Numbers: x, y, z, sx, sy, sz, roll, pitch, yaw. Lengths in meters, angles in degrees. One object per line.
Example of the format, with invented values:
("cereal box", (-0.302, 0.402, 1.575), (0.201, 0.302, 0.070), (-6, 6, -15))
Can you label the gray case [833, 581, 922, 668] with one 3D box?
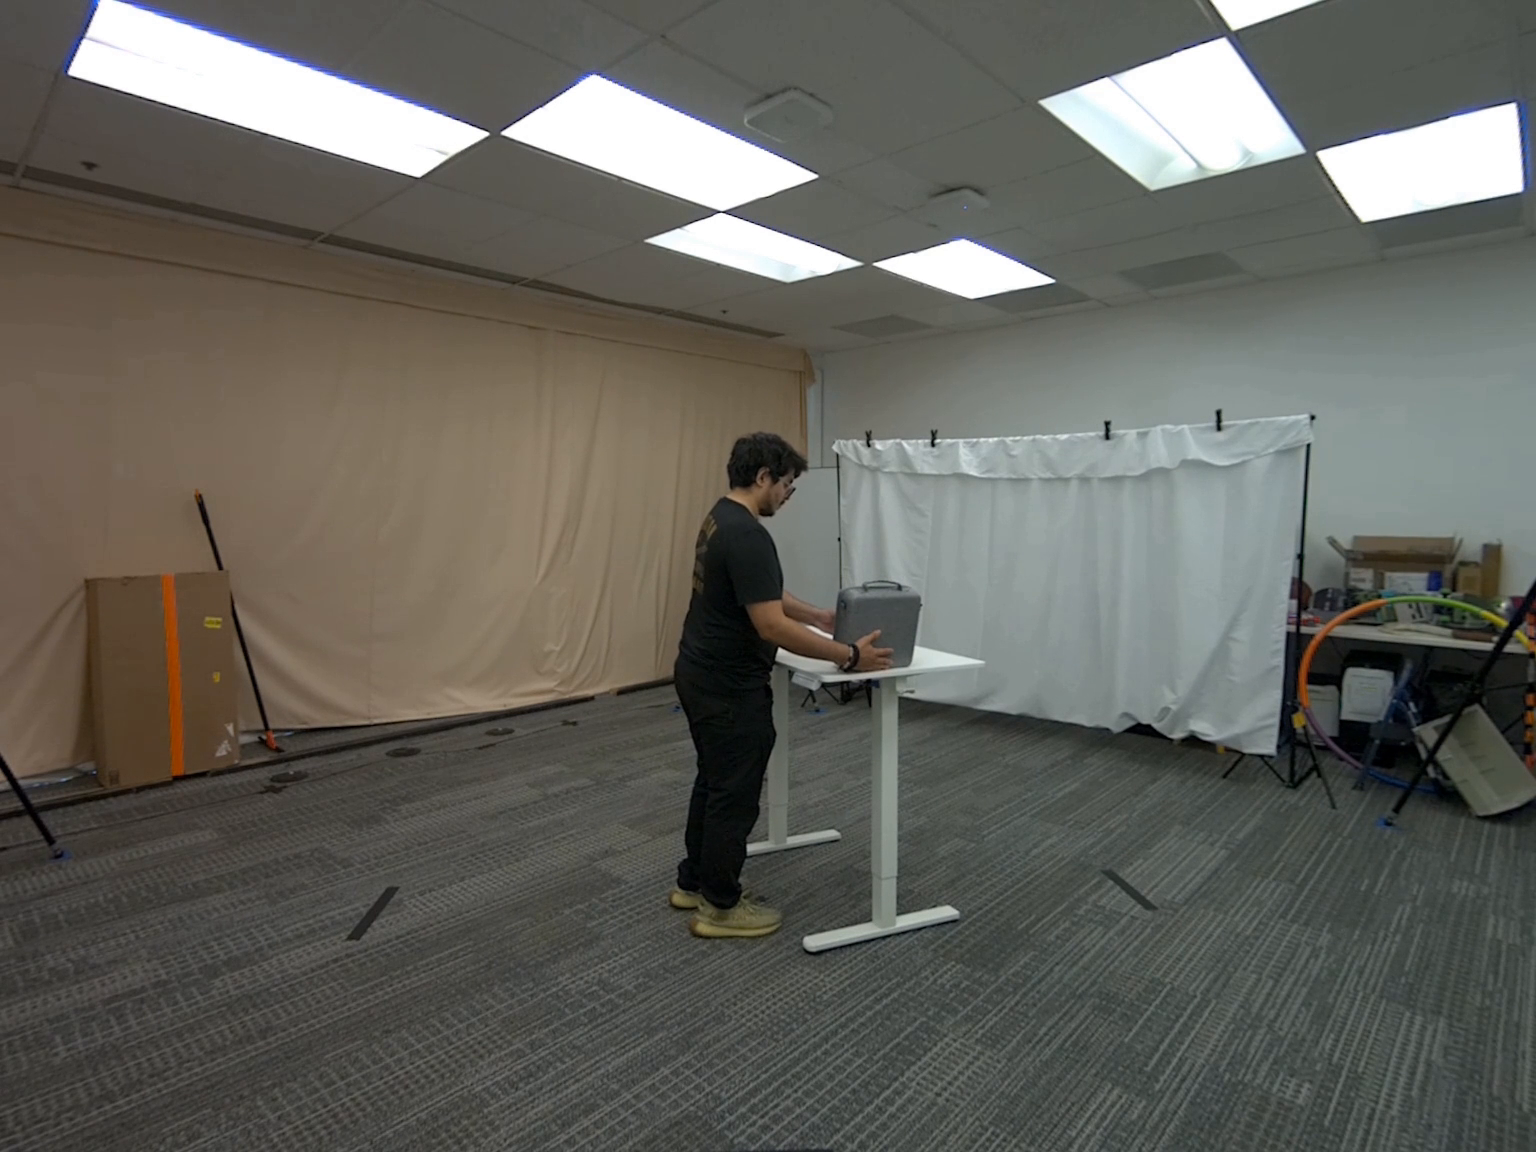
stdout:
("gray case", (0.338, 0.163, 2.587), (0.252, 0.259, 0.107), (0, 12, -18))
